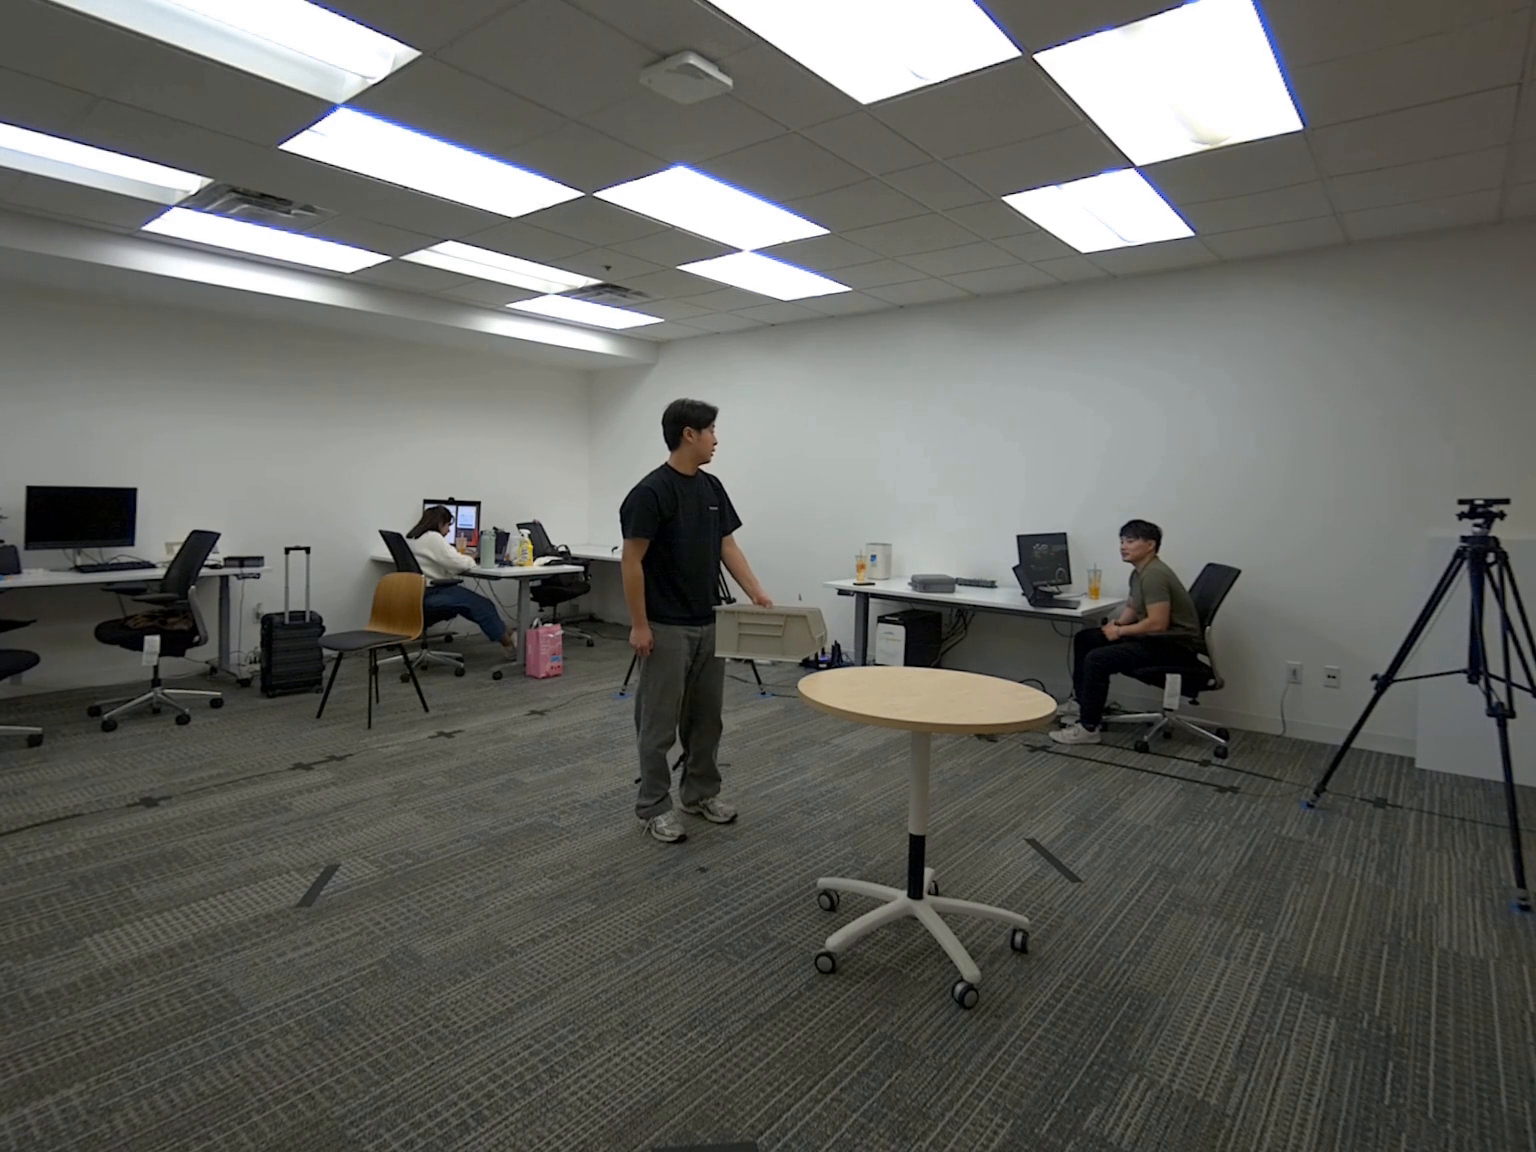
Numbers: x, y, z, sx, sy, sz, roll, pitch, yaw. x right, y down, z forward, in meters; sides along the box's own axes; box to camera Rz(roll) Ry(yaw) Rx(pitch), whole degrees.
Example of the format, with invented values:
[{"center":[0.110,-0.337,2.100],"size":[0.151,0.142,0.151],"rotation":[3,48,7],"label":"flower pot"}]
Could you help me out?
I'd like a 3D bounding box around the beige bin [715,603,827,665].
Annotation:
[{"center":[0.008,0.206,3.219],"size":[0.382,0.189,0.417],"rotation":[0,1,9],"label":"beige bin"}]
